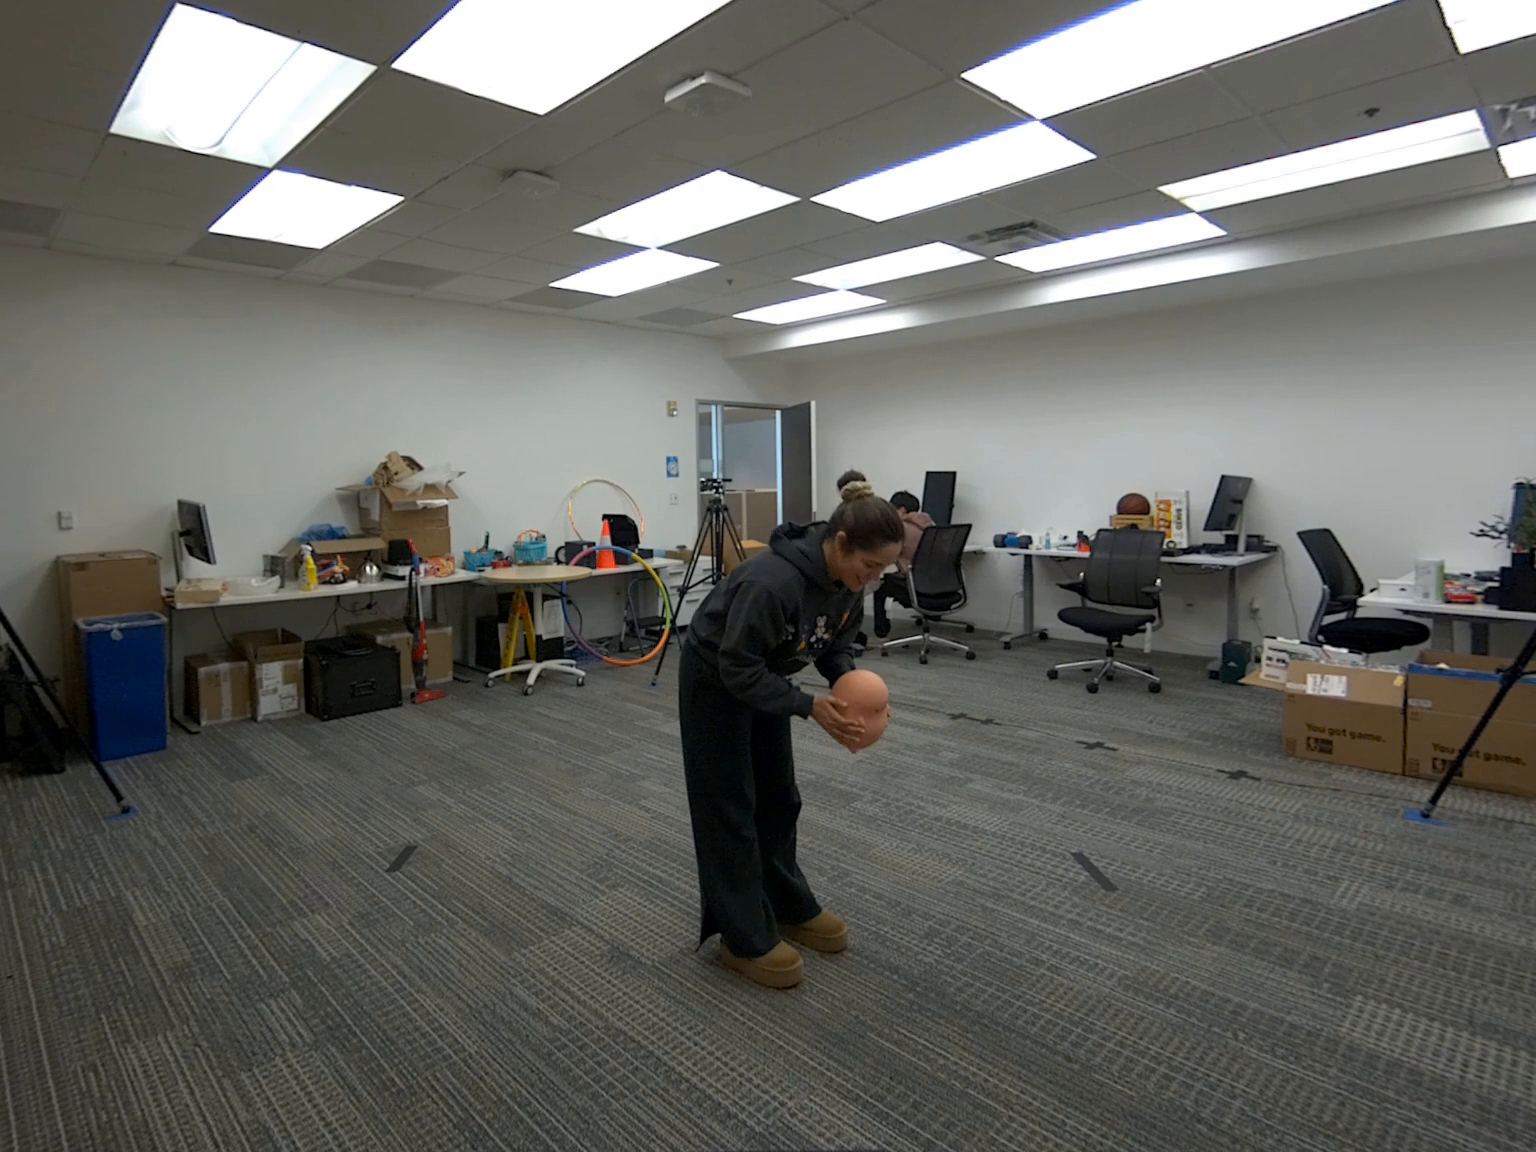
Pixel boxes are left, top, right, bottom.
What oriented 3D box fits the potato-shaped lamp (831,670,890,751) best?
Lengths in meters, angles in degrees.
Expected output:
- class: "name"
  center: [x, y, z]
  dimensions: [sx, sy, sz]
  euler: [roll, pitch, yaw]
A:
- class: "potato-shaped lamp"
  center: [0.234, 0.349, 2.276]
  dimensions: [0.161, 0.195, 0.177]
  euler: [-17, 46, -44]
